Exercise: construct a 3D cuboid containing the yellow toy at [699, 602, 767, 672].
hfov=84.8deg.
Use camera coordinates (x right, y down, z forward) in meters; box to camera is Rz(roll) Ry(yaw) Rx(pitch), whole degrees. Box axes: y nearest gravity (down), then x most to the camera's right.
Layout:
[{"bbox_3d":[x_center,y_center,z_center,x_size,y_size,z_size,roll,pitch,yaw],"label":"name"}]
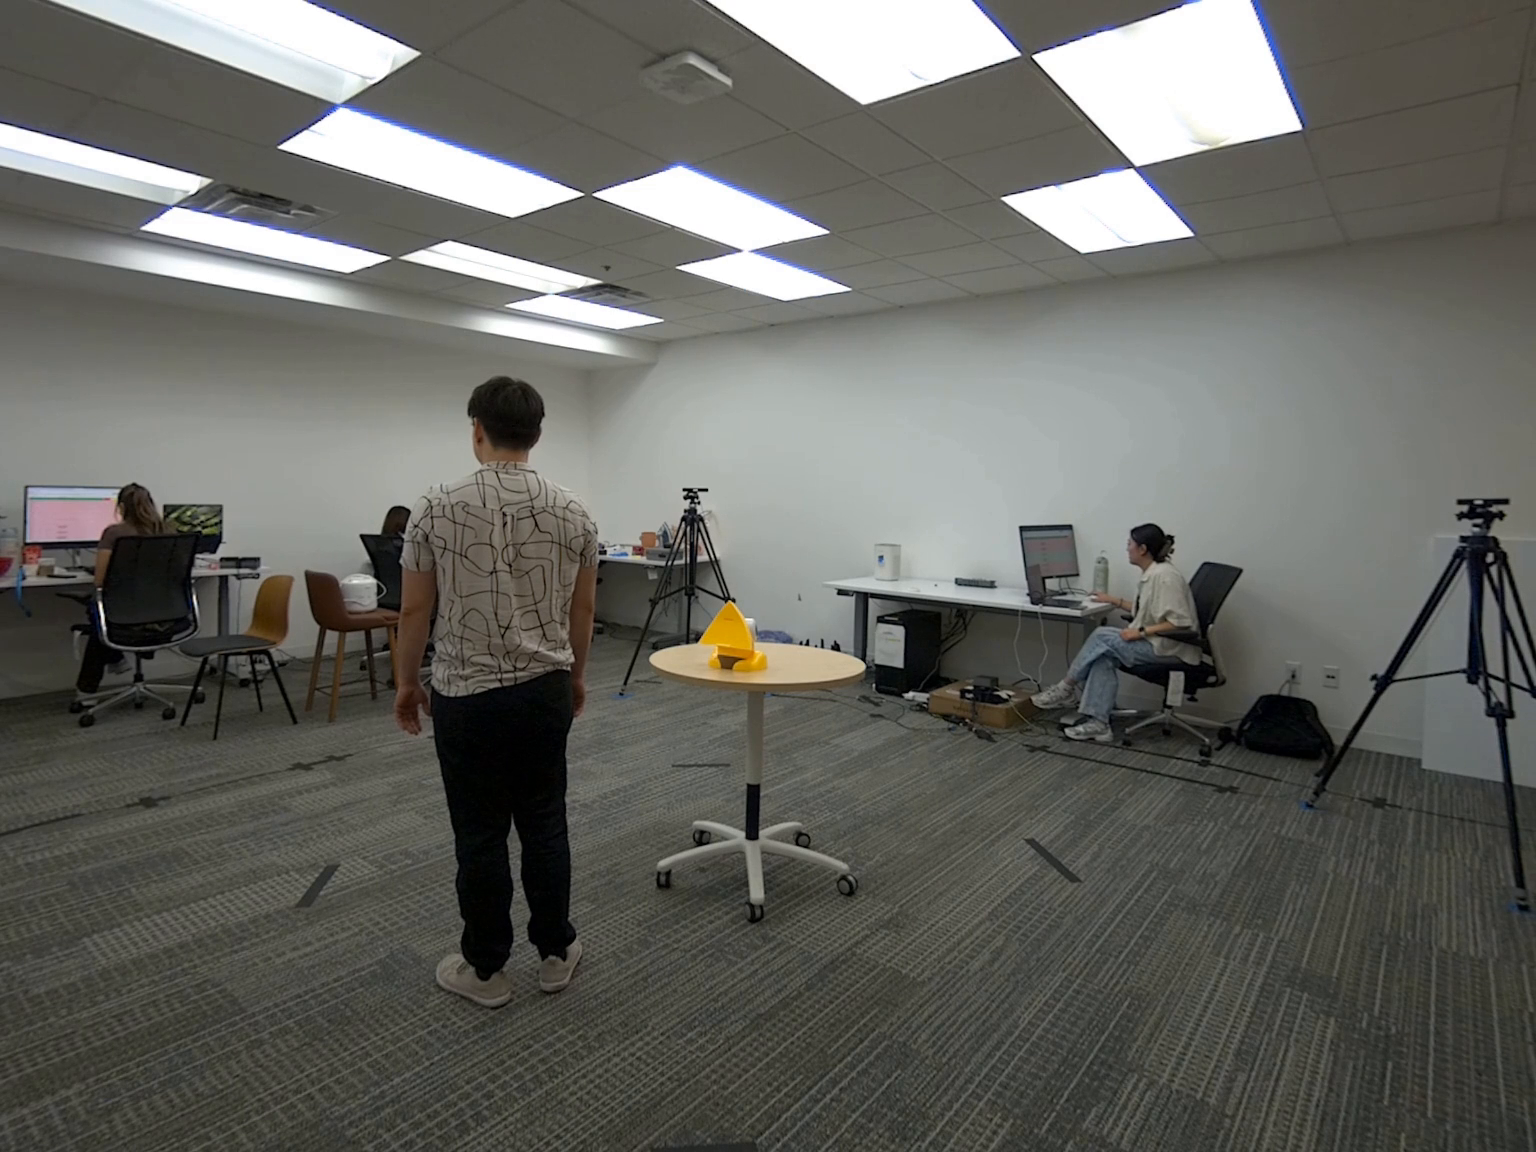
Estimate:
[{"bbox_3d":[-0.113,0.191,2.914,0.211,0.230,0.188,3,4,29],"label":"yellow toy"}]
